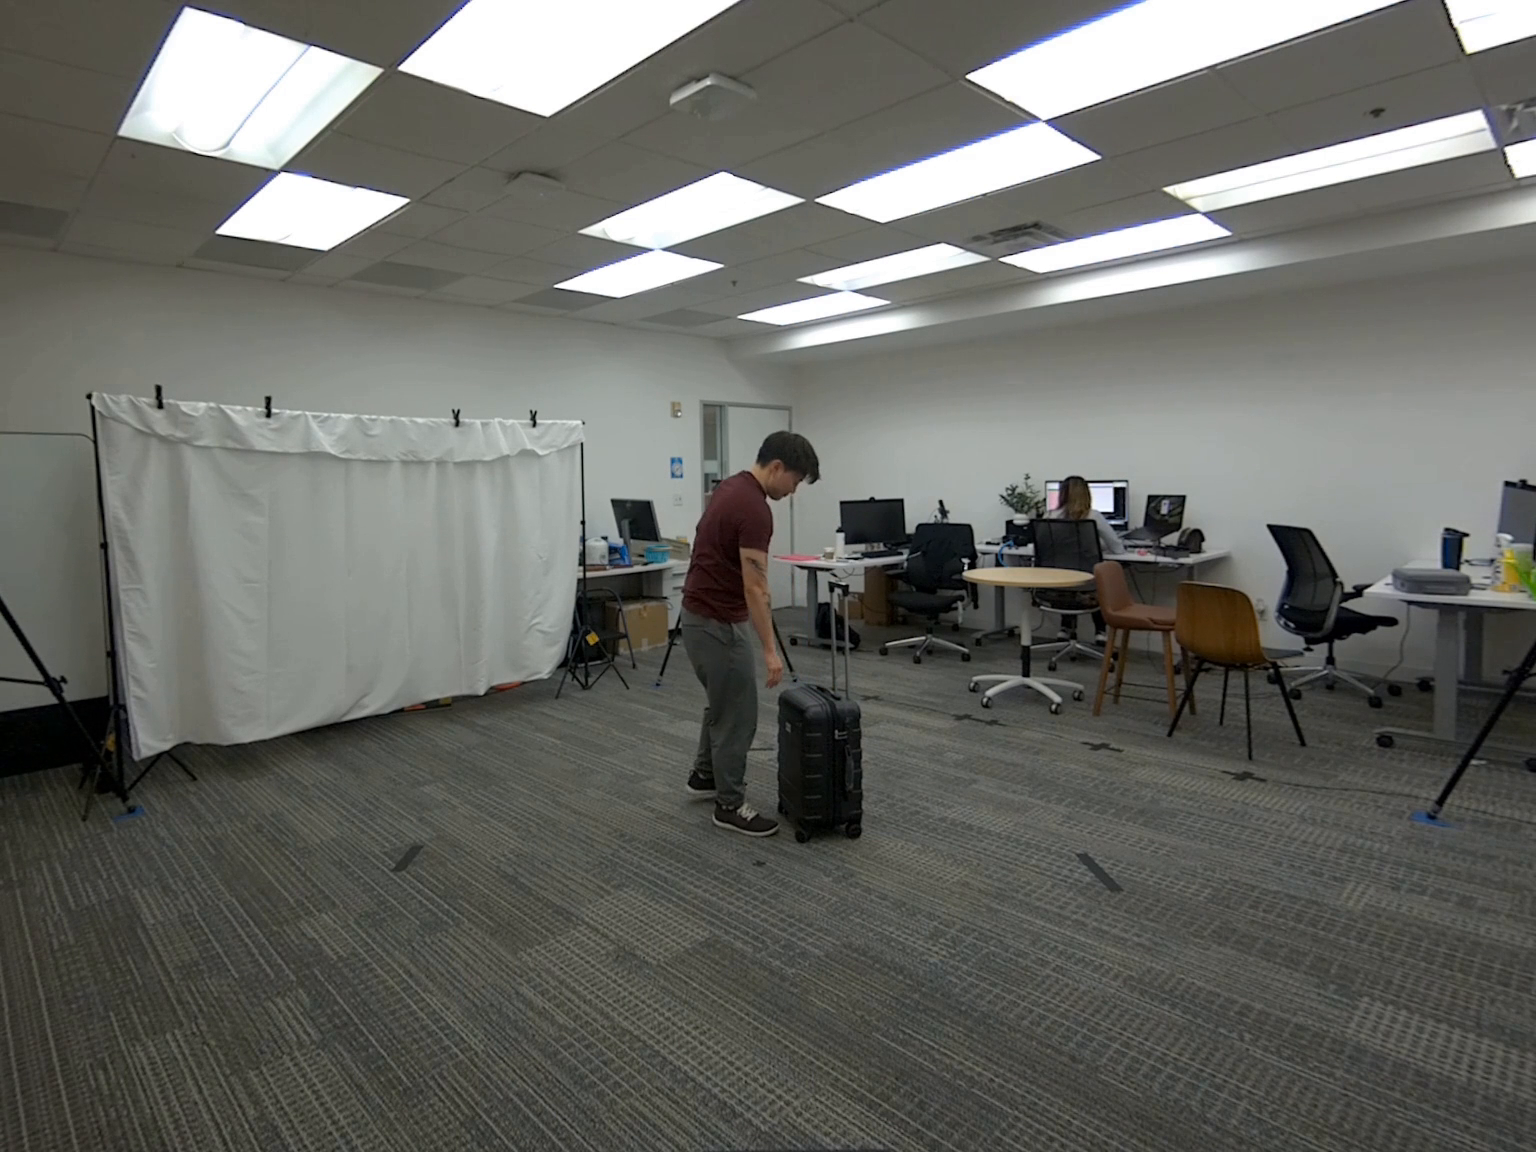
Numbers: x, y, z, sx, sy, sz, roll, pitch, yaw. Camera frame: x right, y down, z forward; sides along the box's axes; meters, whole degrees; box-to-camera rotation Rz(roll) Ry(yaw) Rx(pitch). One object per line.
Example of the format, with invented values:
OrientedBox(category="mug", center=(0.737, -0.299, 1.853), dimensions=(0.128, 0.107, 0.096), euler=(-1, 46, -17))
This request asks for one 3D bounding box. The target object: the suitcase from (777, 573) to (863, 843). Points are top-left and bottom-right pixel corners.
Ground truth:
OrientedBox(category="suitcase", center=(0.210, 0.534, 3.416), dimensions=(0.254, 0.975, 0.389), euler=(-1, 4, -12))
